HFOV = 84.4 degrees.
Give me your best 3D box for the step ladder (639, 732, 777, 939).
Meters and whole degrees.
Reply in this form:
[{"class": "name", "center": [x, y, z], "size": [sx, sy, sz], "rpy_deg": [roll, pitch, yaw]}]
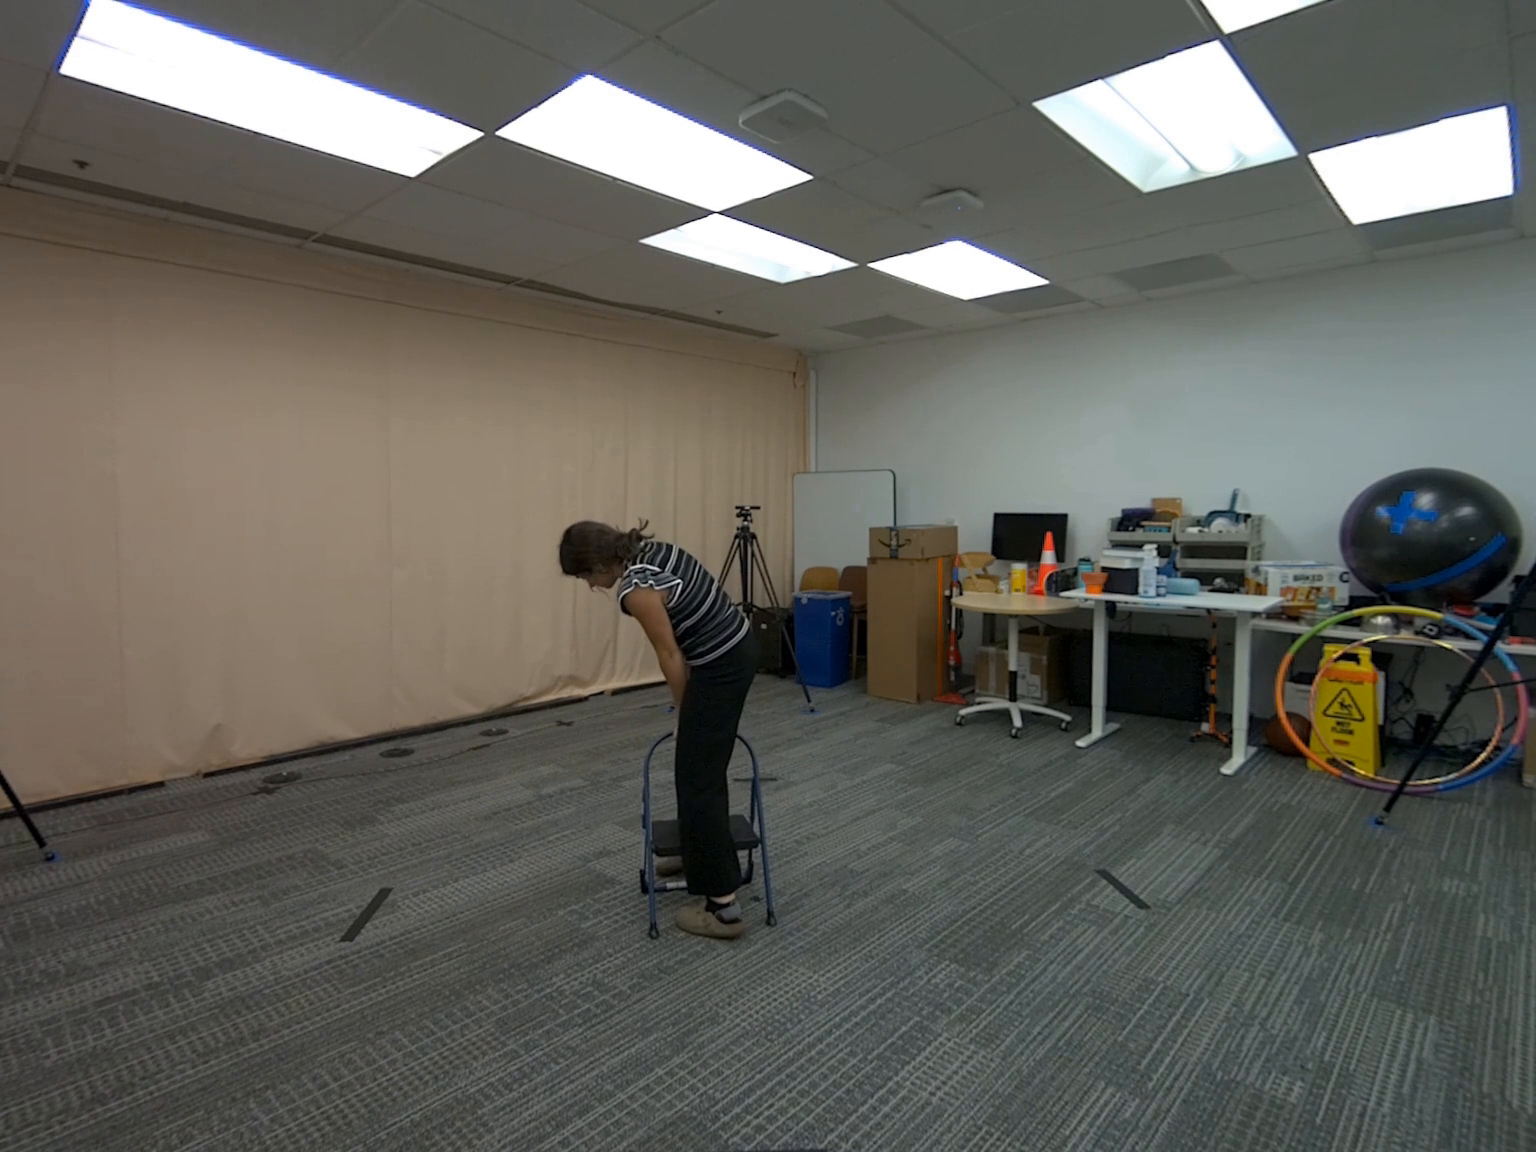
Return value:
[{"class": "step ladder", "center": [-0.223, 0.850, 2.911], "size": [0.425, 0.605, 0.354], "rpy_deg": [-1, 3, -13]}]
